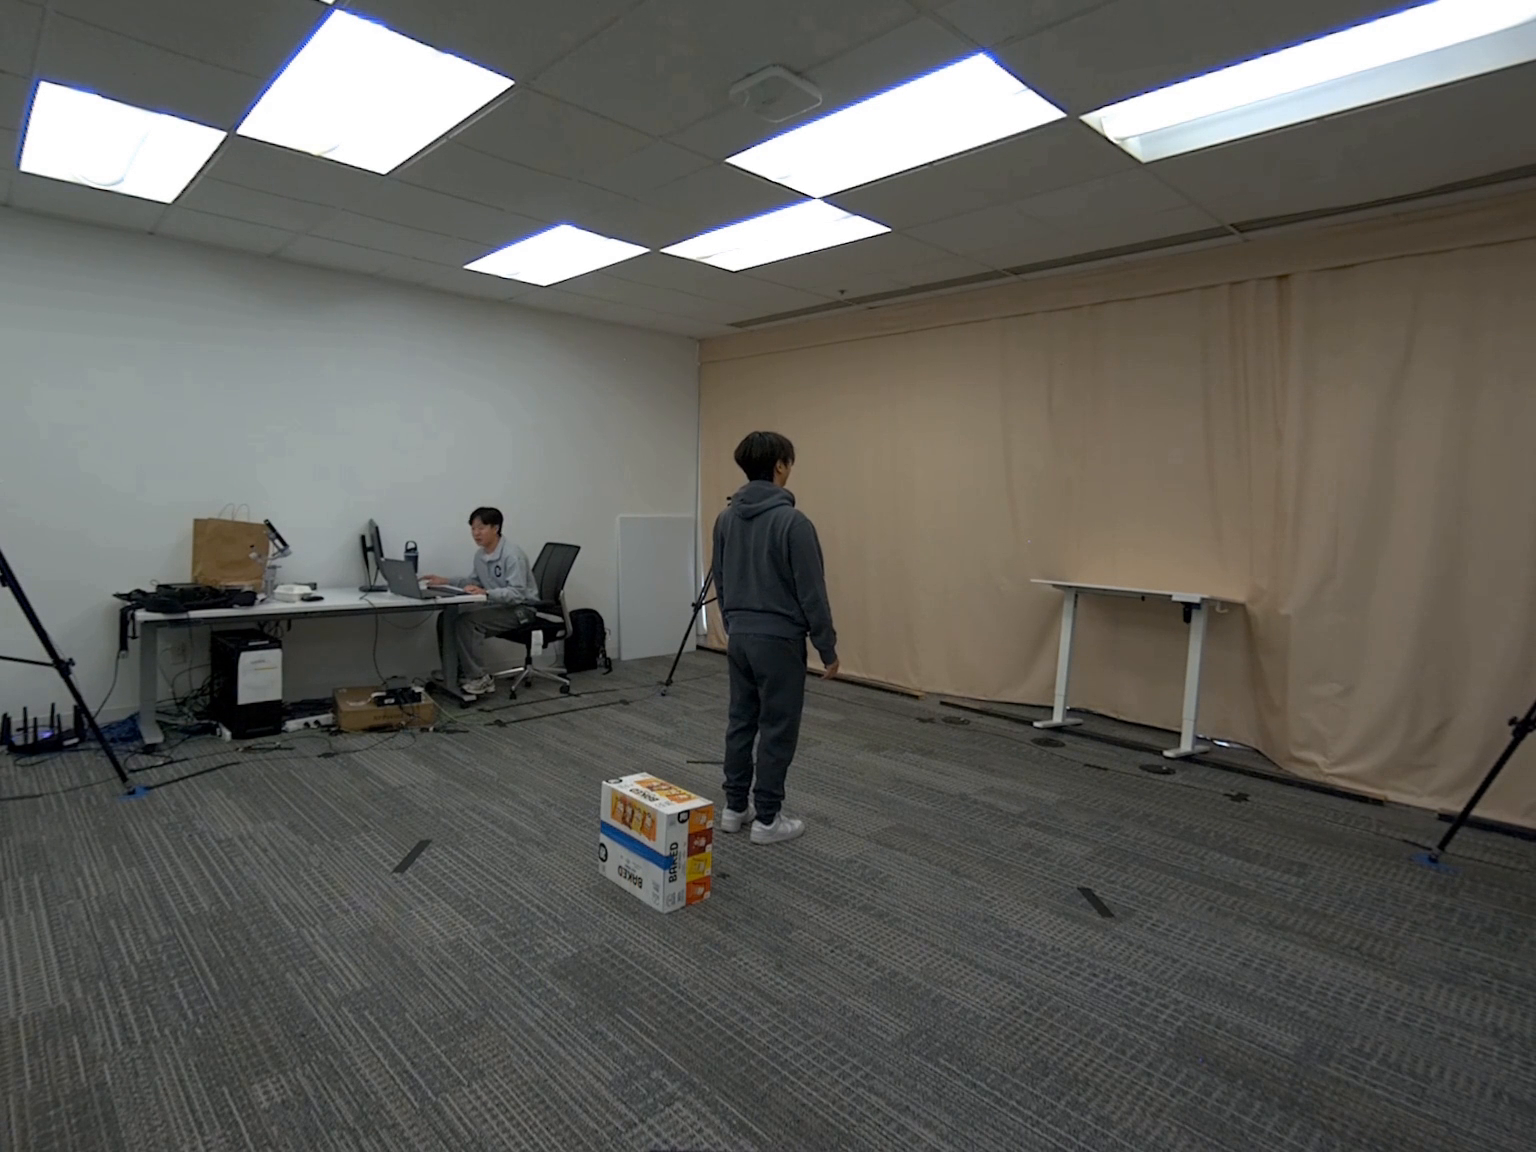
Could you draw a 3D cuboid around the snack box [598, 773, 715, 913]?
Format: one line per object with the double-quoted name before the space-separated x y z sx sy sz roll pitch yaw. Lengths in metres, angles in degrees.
"snack box" -0.413 0.941 3.008 0.201 0.340 0.415 0 4 -42
